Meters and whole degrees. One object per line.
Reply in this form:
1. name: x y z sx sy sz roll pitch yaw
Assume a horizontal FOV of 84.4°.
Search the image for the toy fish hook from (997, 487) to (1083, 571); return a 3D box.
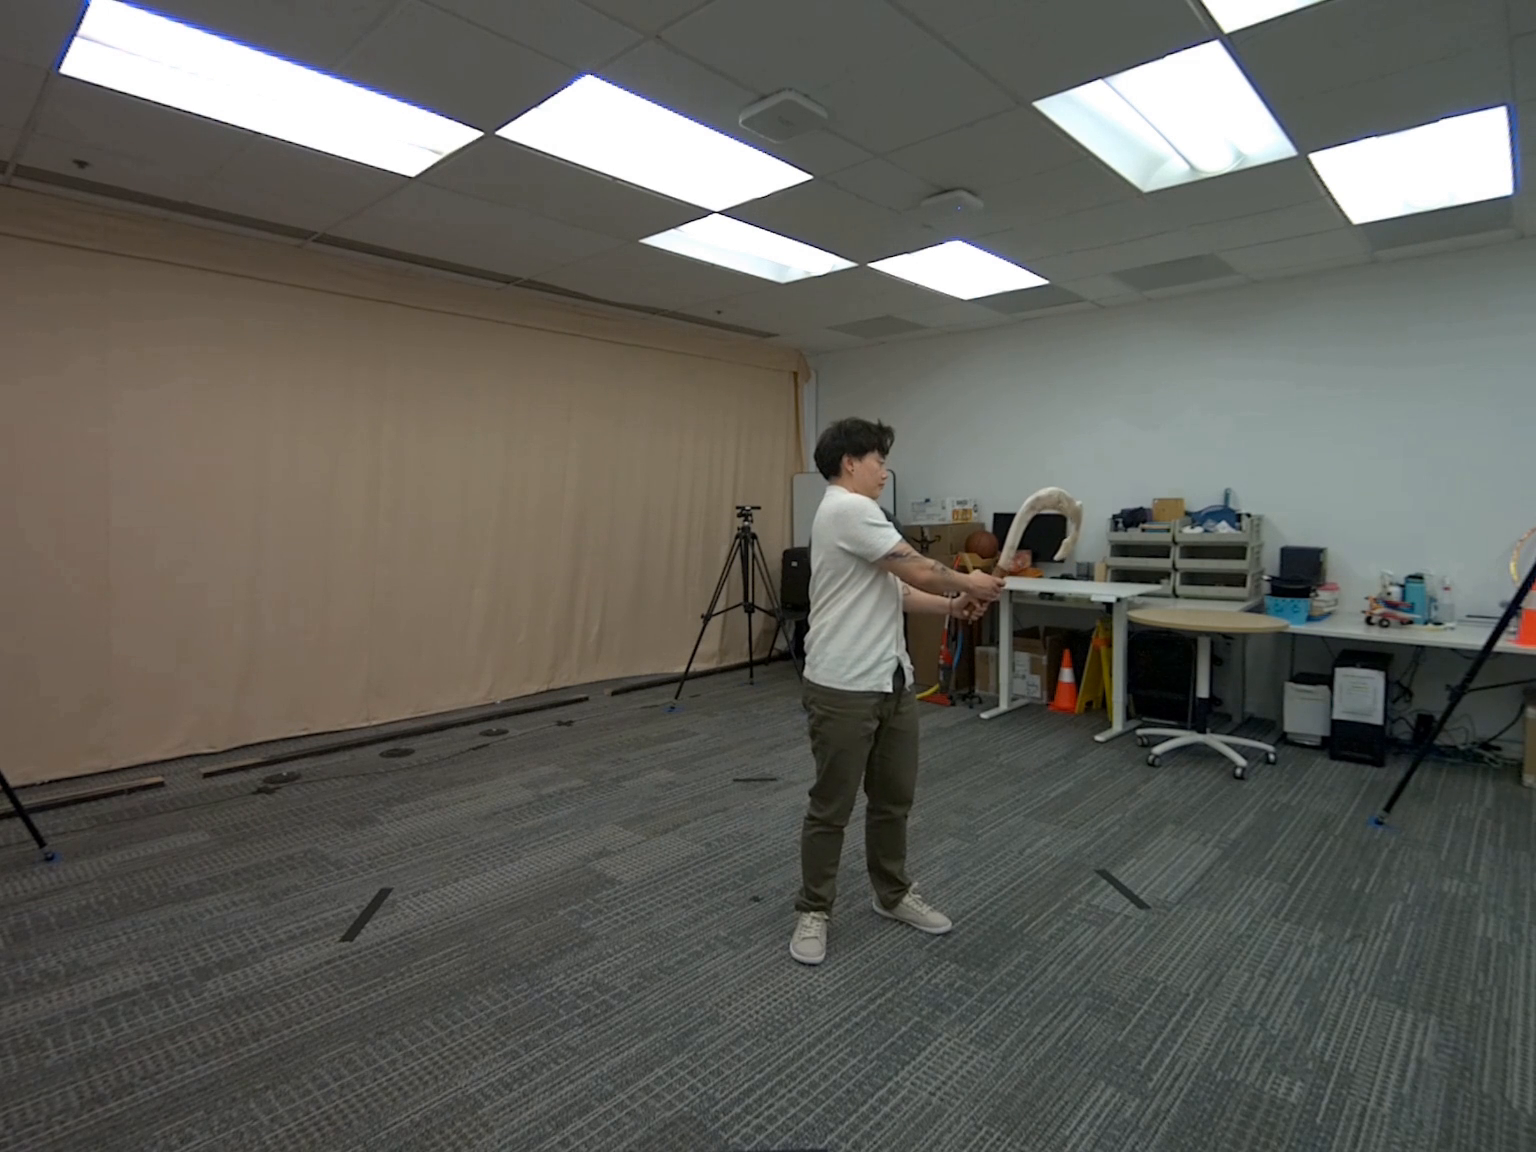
1. toy fish hook: 0.833 -0.043 2.711 0.224 0.507 0.048 32 9 -1
